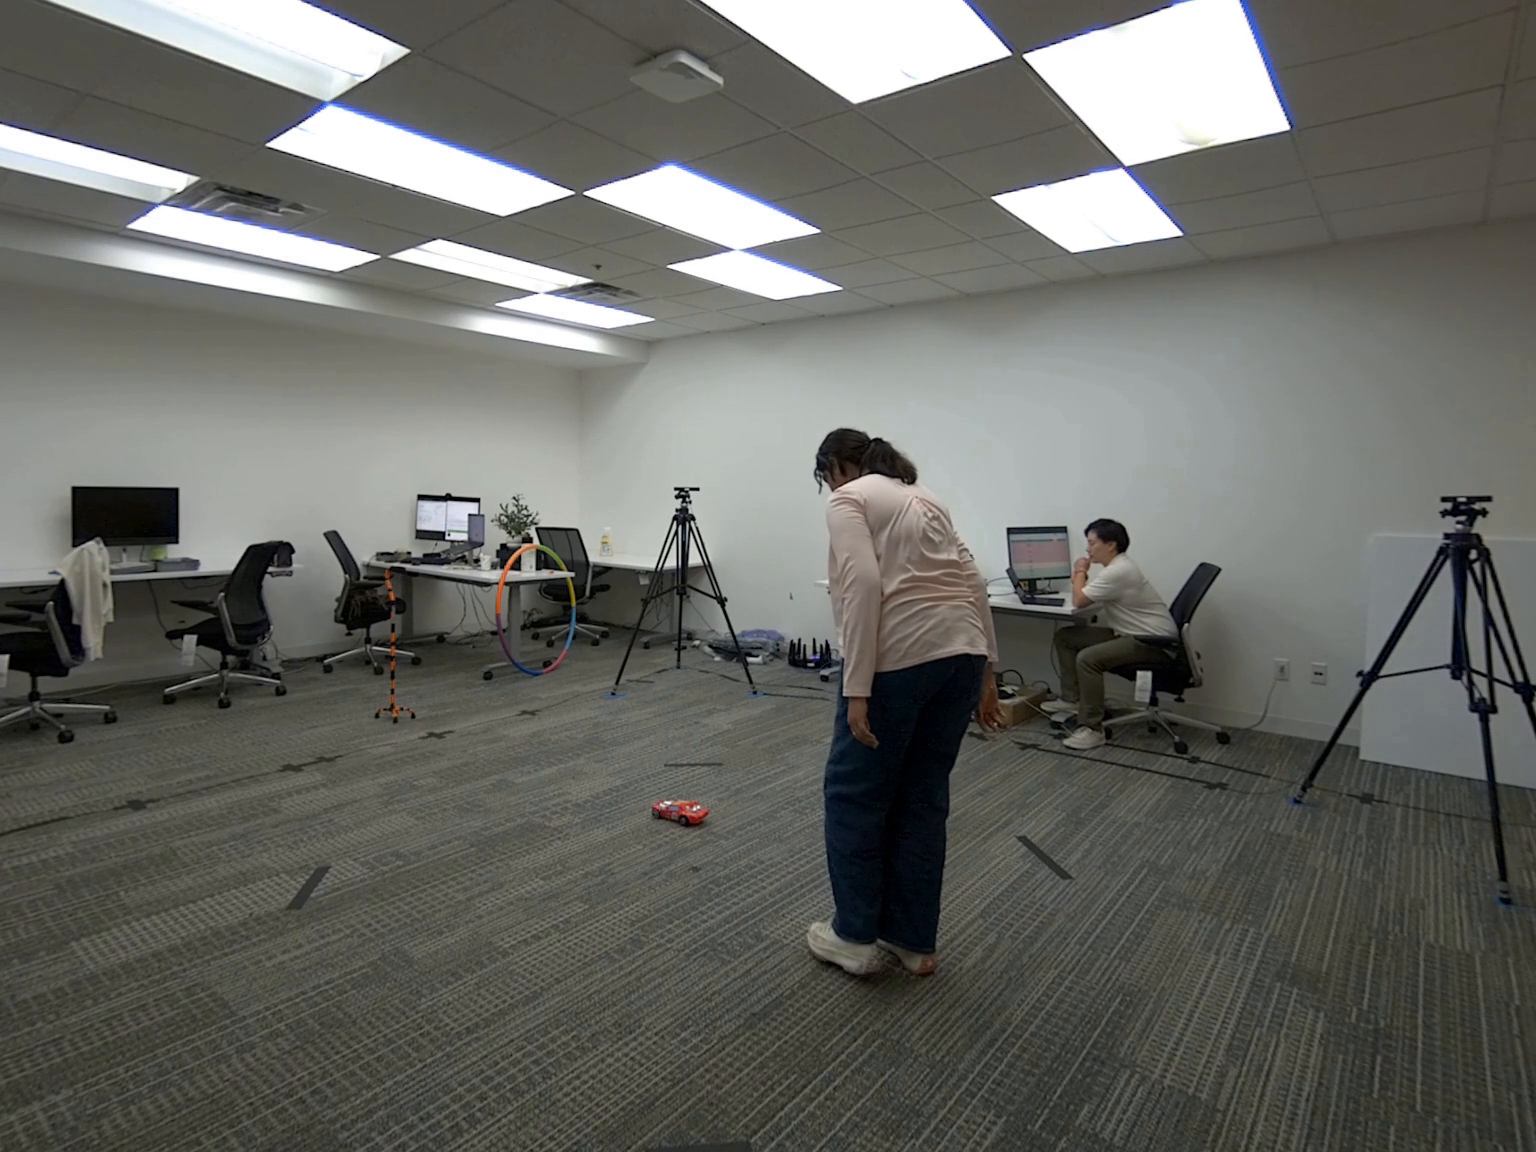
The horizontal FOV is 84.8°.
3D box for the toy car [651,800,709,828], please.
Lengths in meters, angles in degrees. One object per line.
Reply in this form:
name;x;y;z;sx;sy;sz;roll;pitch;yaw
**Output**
toy car;-0.375;0.986;3.568;0.261;0.083;0.127;-8;0;32
